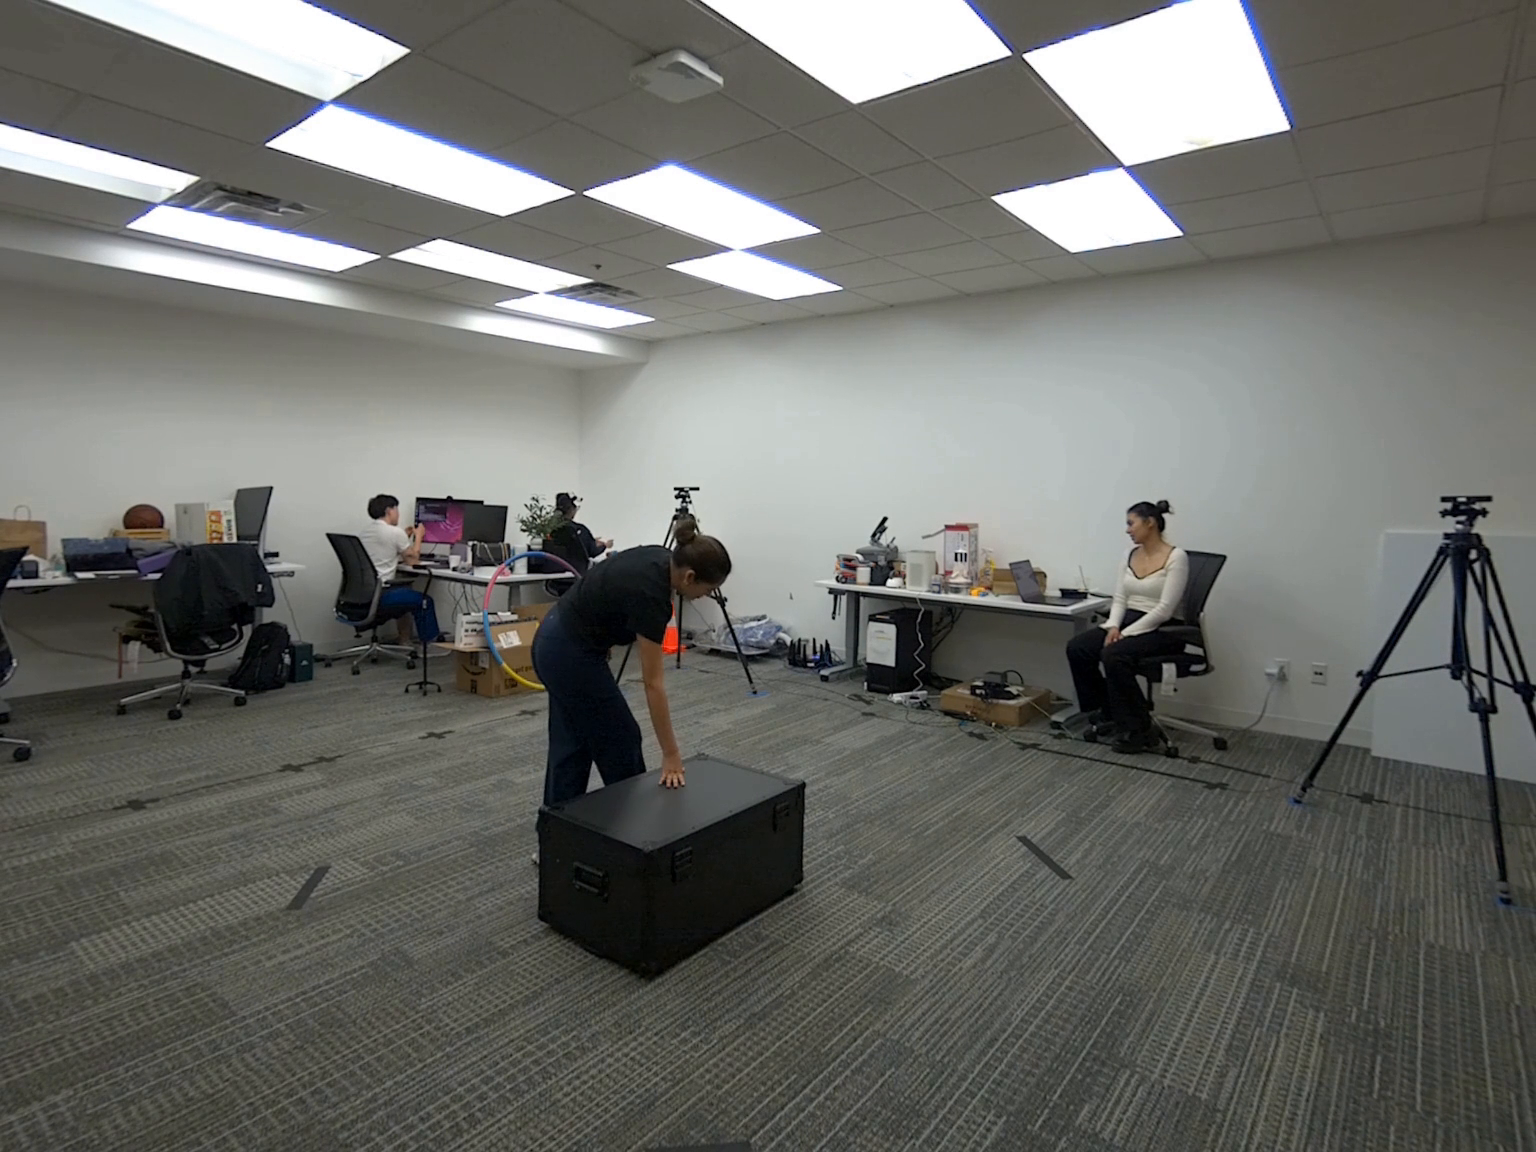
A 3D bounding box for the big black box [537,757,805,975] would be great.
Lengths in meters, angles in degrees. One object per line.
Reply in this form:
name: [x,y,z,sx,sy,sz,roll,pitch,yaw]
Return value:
big black box: [-0.271,0.885,2.847,0.539,0.395,0.836,5,6,38]
